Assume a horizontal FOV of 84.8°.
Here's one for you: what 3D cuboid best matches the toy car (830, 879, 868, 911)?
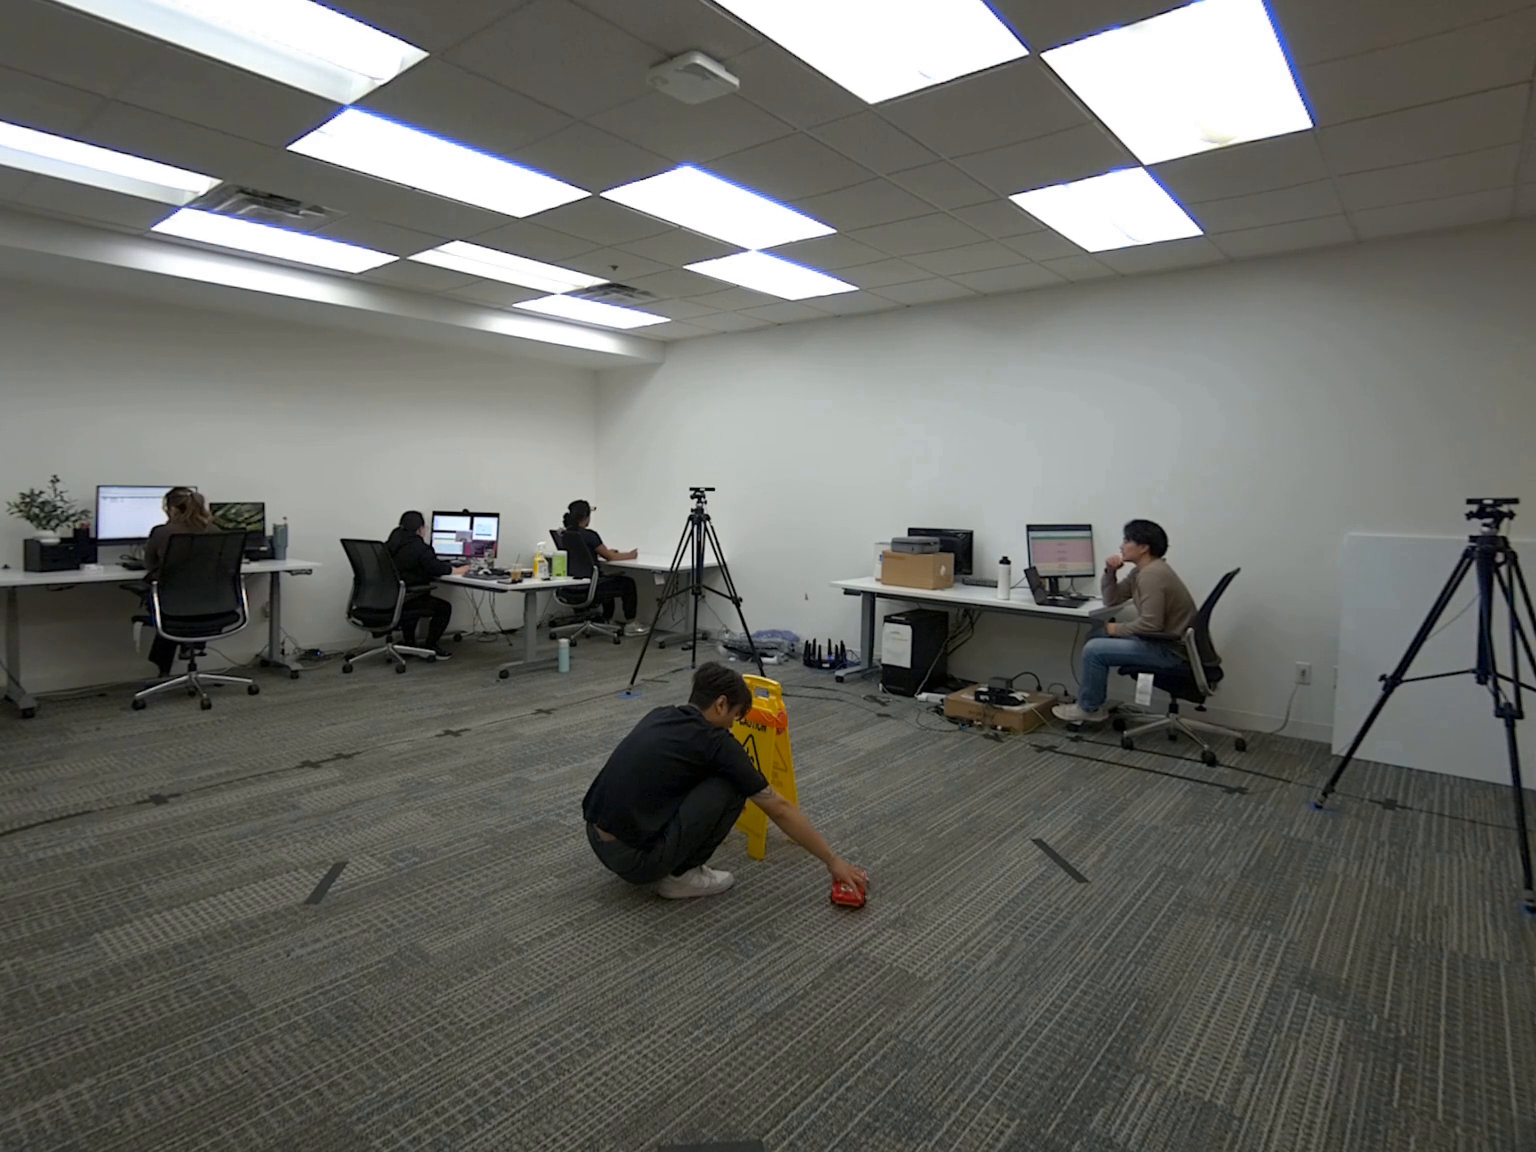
[{"bbox_3d":[0.264,1.069,2.921,0.132,0.083,0.250,3,-4,10],"label":"toy car"}]
